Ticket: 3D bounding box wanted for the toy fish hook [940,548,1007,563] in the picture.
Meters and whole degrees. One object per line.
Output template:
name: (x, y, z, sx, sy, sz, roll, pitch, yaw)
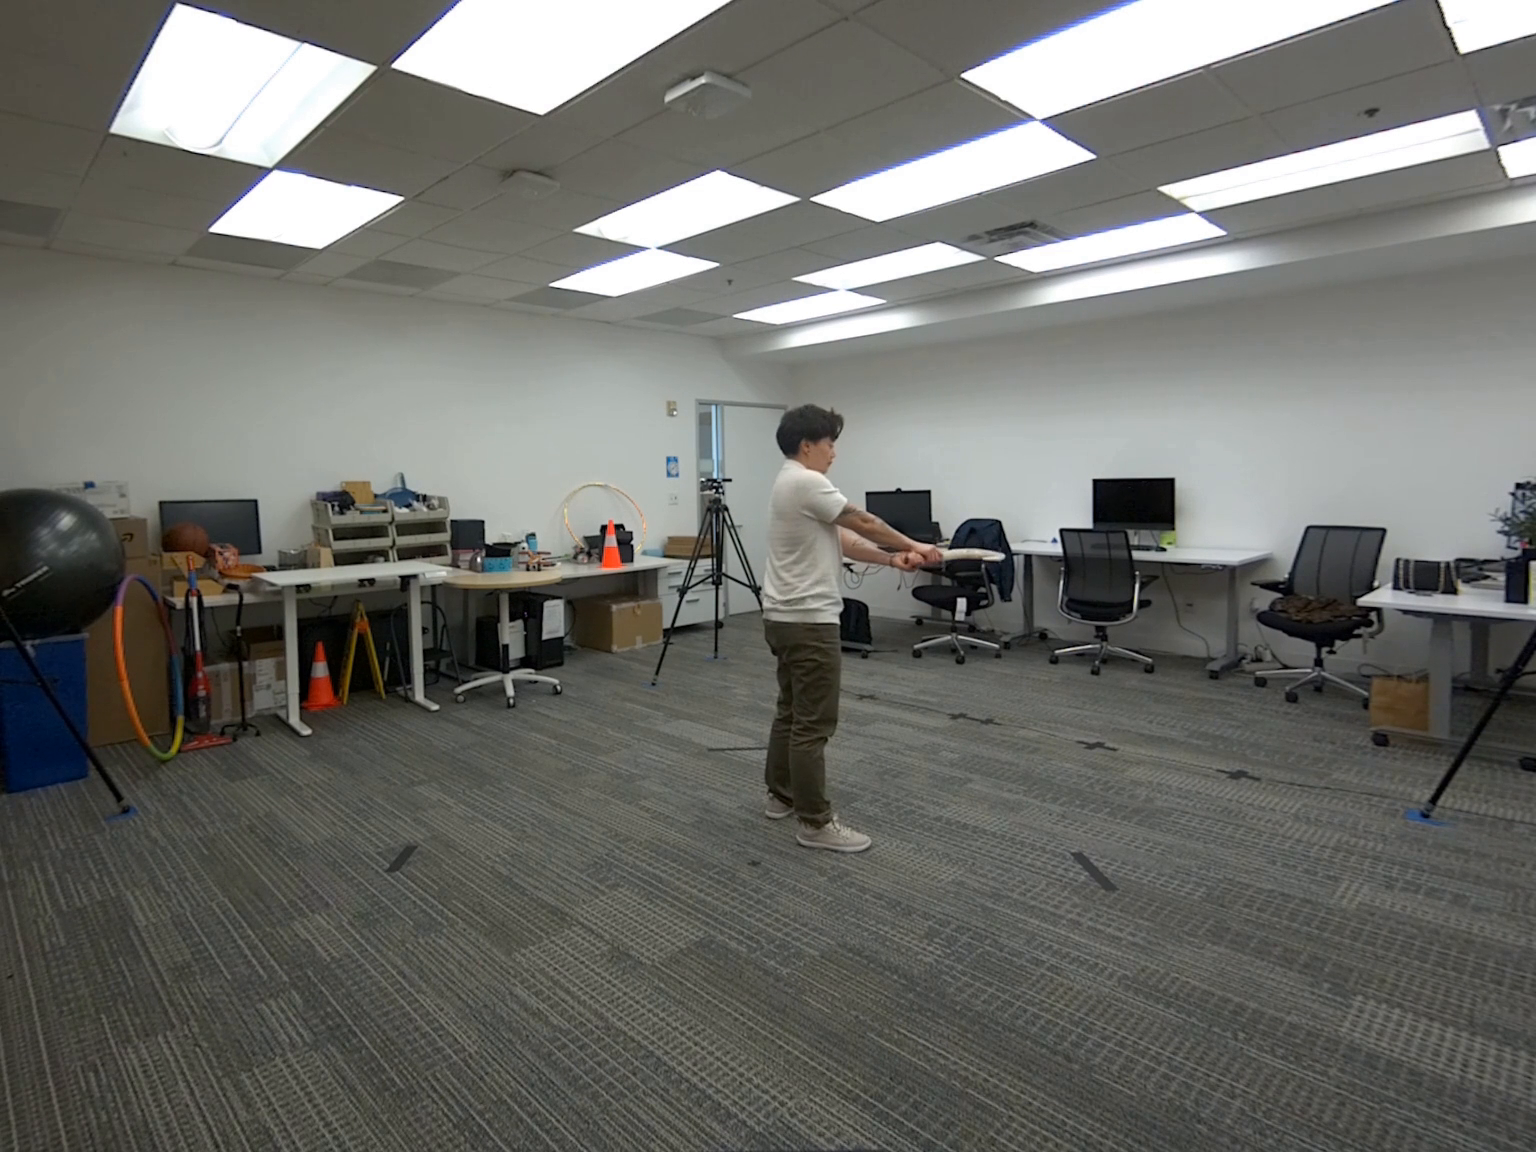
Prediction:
toy fish hook: (0.739, -0.069, 3.367, 0.495, 0.048, 0.230, -5, 4, -30)
